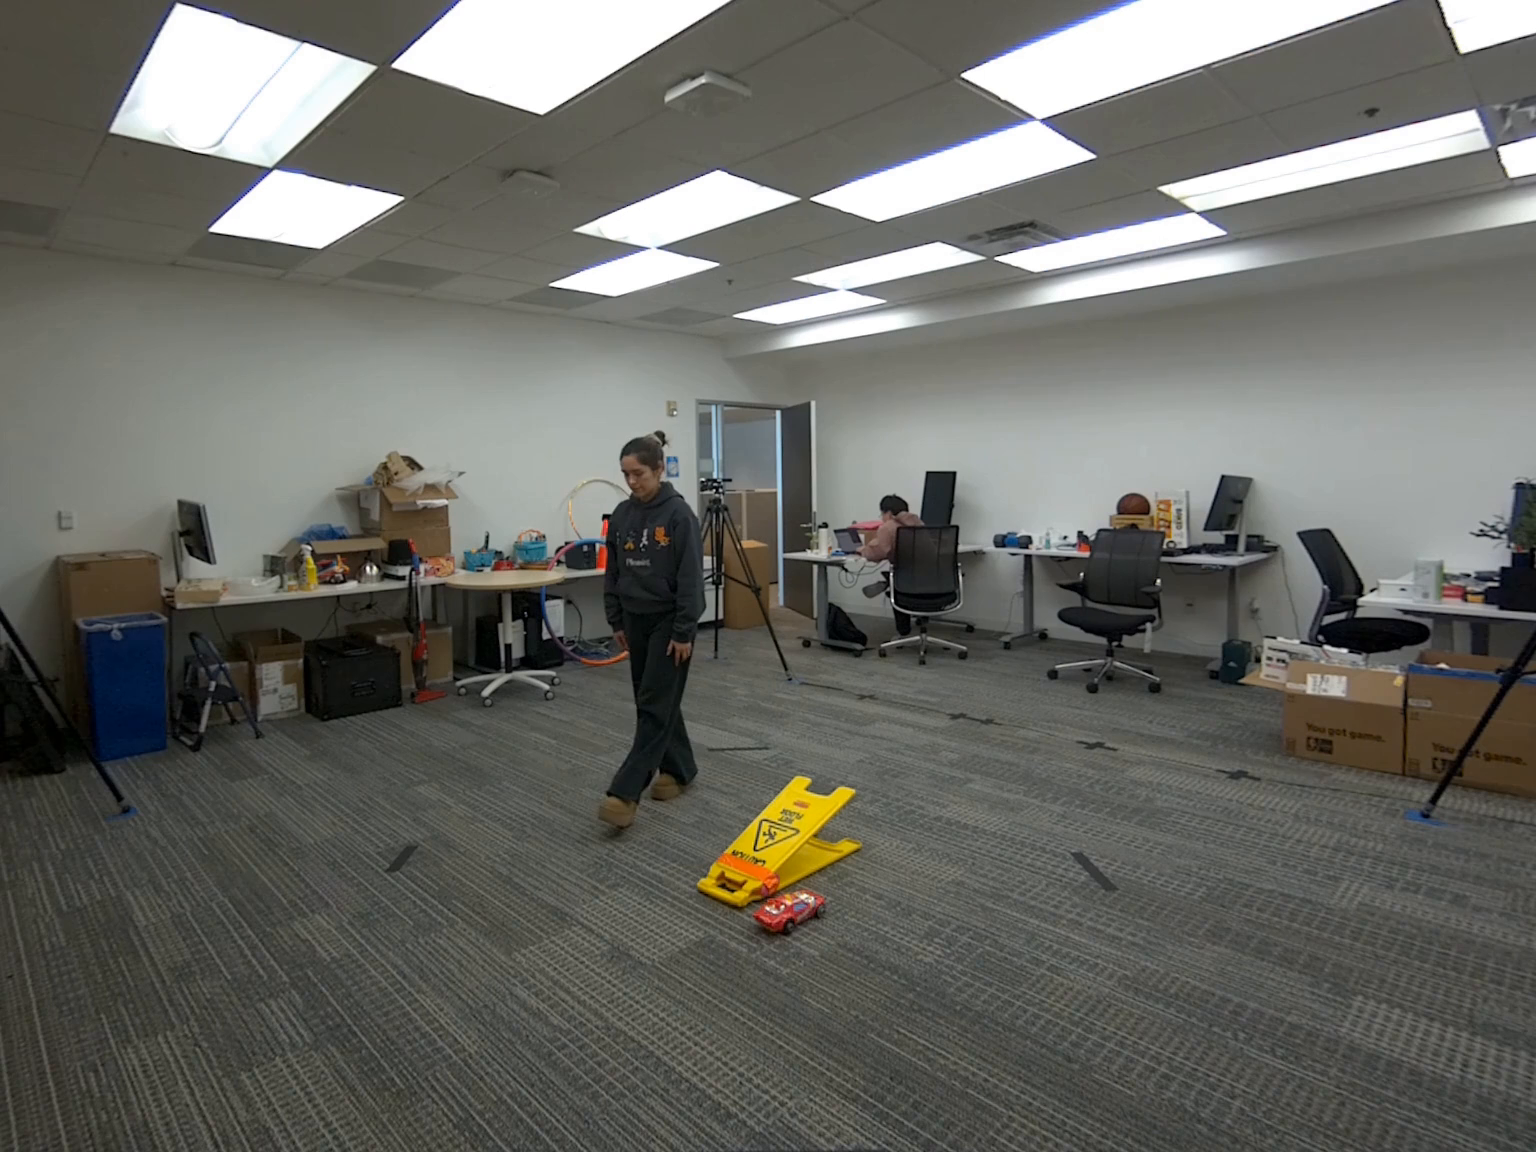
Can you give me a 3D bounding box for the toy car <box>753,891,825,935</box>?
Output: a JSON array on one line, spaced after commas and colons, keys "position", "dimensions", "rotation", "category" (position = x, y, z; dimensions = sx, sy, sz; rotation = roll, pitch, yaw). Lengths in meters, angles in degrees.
[{"position": [0.064, 1.058, 2.683], "dimensions": [0.246, 0.083, 0.134], "rotation": [8, -2, -41], "category": "toy car"}]
